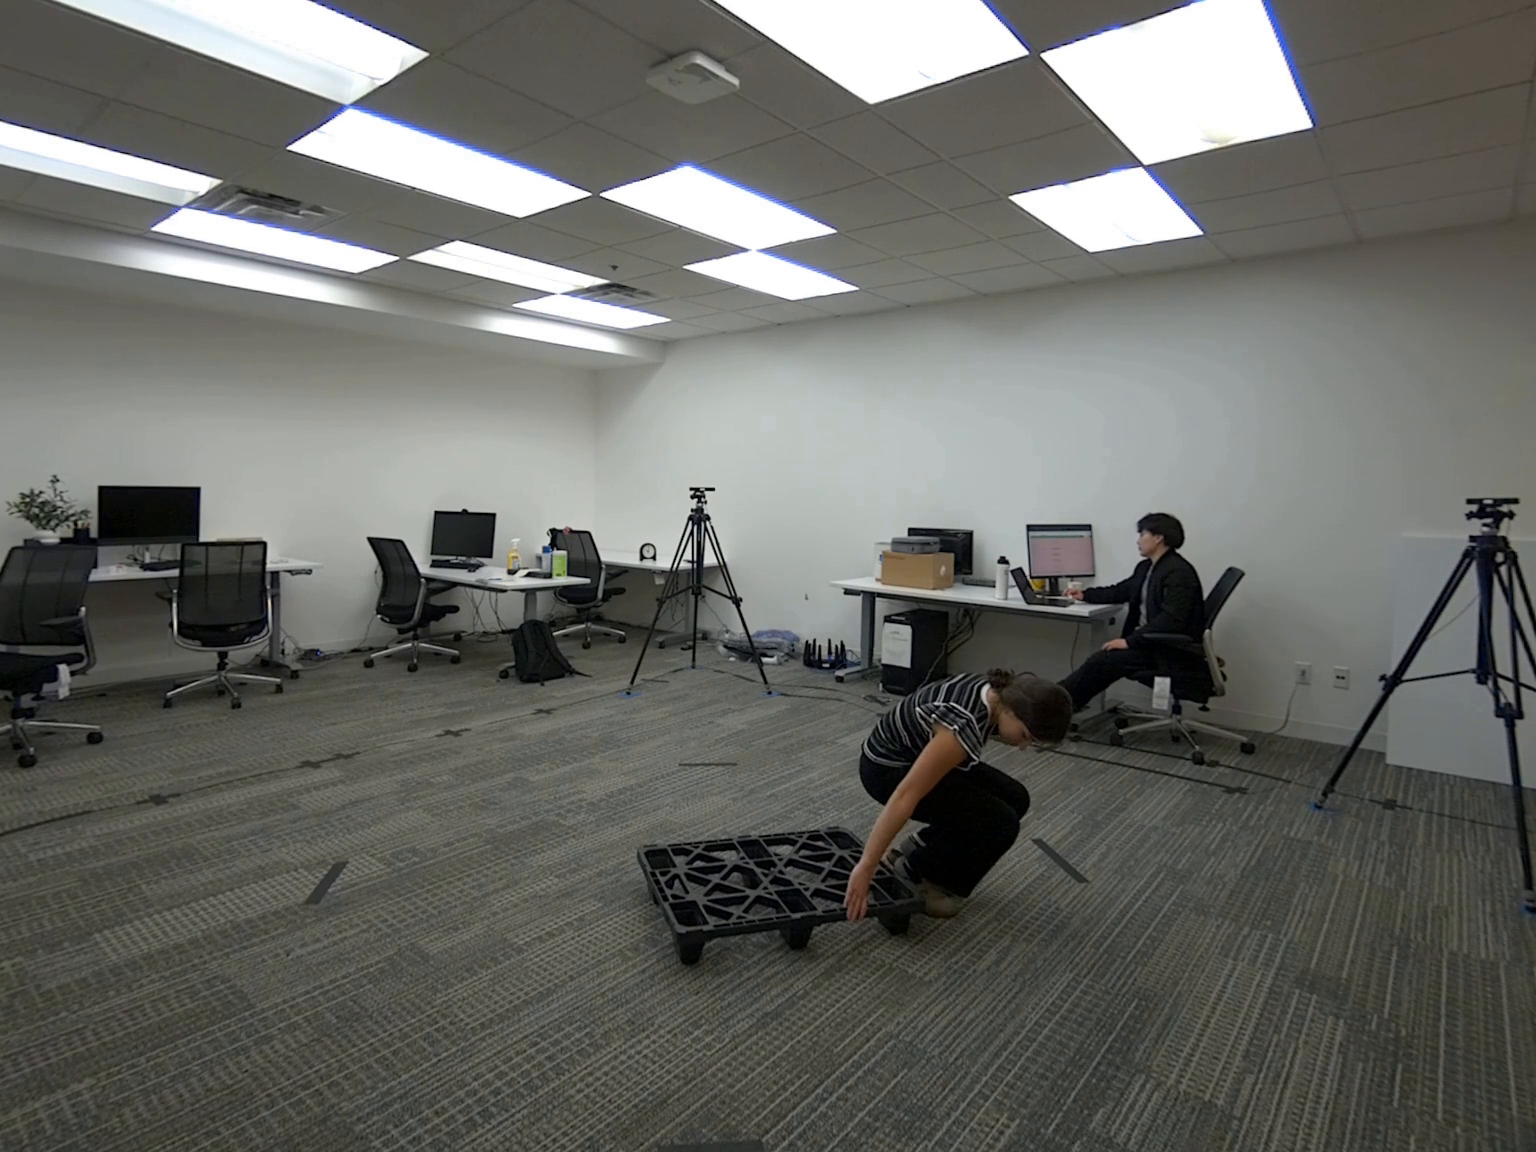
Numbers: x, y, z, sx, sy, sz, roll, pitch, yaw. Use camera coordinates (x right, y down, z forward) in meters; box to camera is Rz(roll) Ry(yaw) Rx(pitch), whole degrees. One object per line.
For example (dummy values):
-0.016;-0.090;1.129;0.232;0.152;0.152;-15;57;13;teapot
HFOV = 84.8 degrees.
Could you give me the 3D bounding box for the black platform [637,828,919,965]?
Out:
0.010;1.034;2.797;0.791;0.142;0.619;-1;7;-18;black platform
